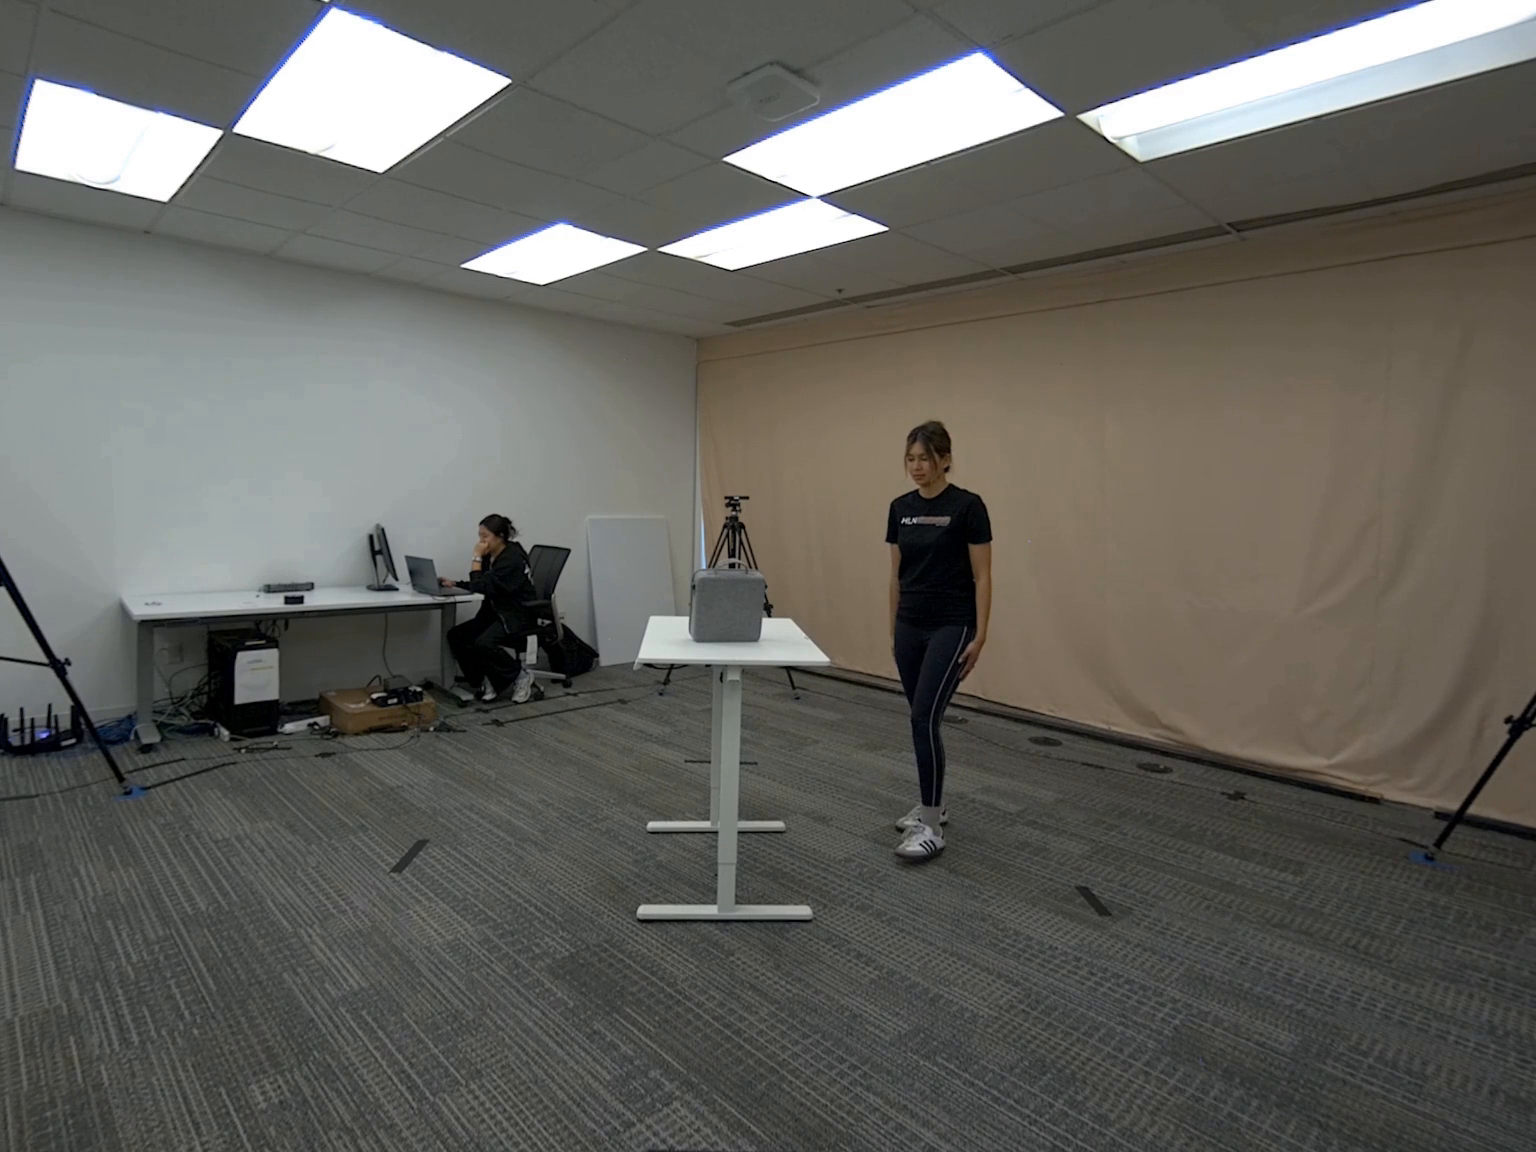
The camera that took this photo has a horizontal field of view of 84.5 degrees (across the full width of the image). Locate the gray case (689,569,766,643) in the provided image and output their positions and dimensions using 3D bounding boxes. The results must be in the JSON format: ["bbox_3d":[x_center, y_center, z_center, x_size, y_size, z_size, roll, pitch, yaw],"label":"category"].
[{"bbox_3d":[-0.146,0.103,2.962,0.254,0.258,0.106,0,13,-12],"label":"gray case"}]
